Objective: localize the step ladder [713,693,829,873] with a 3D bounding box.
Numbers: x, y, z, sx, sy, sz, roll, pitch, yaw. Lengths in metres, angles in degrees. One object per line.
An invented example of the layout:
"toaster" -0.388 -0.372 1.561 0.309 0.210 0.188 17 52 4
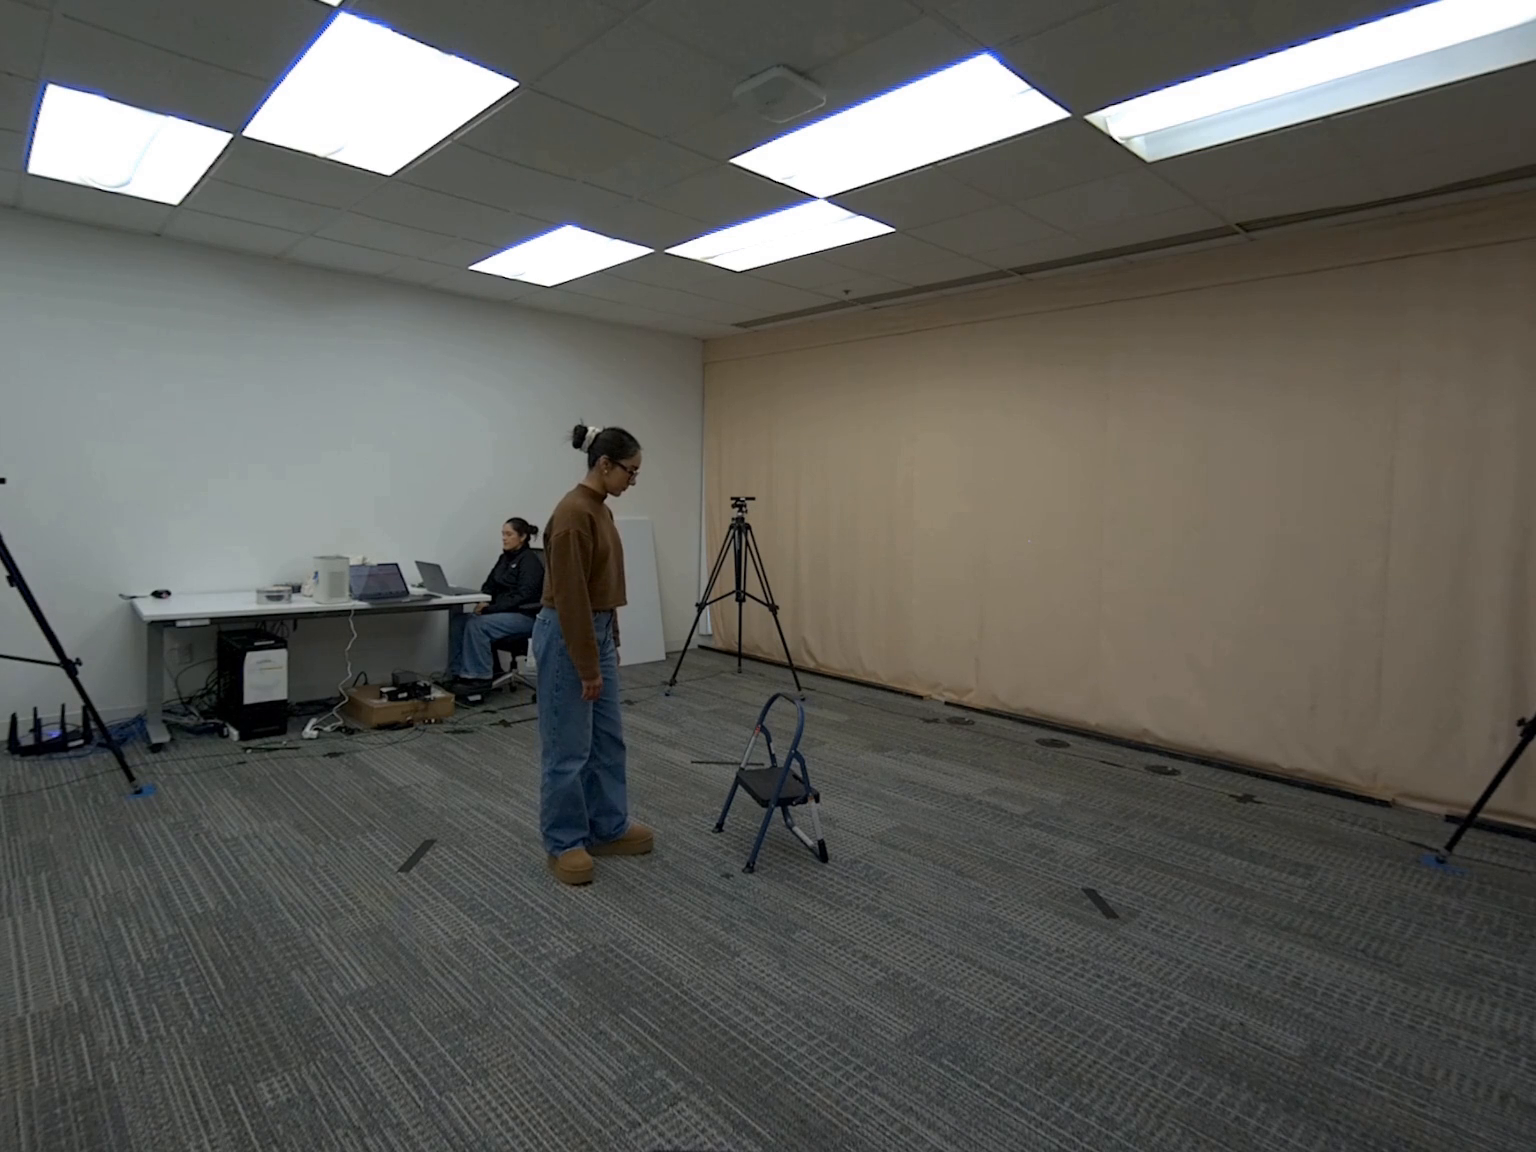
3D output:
"step ladder" -0.002 0.783 3.365 0.344 0.605 0.438 0 4 -19
